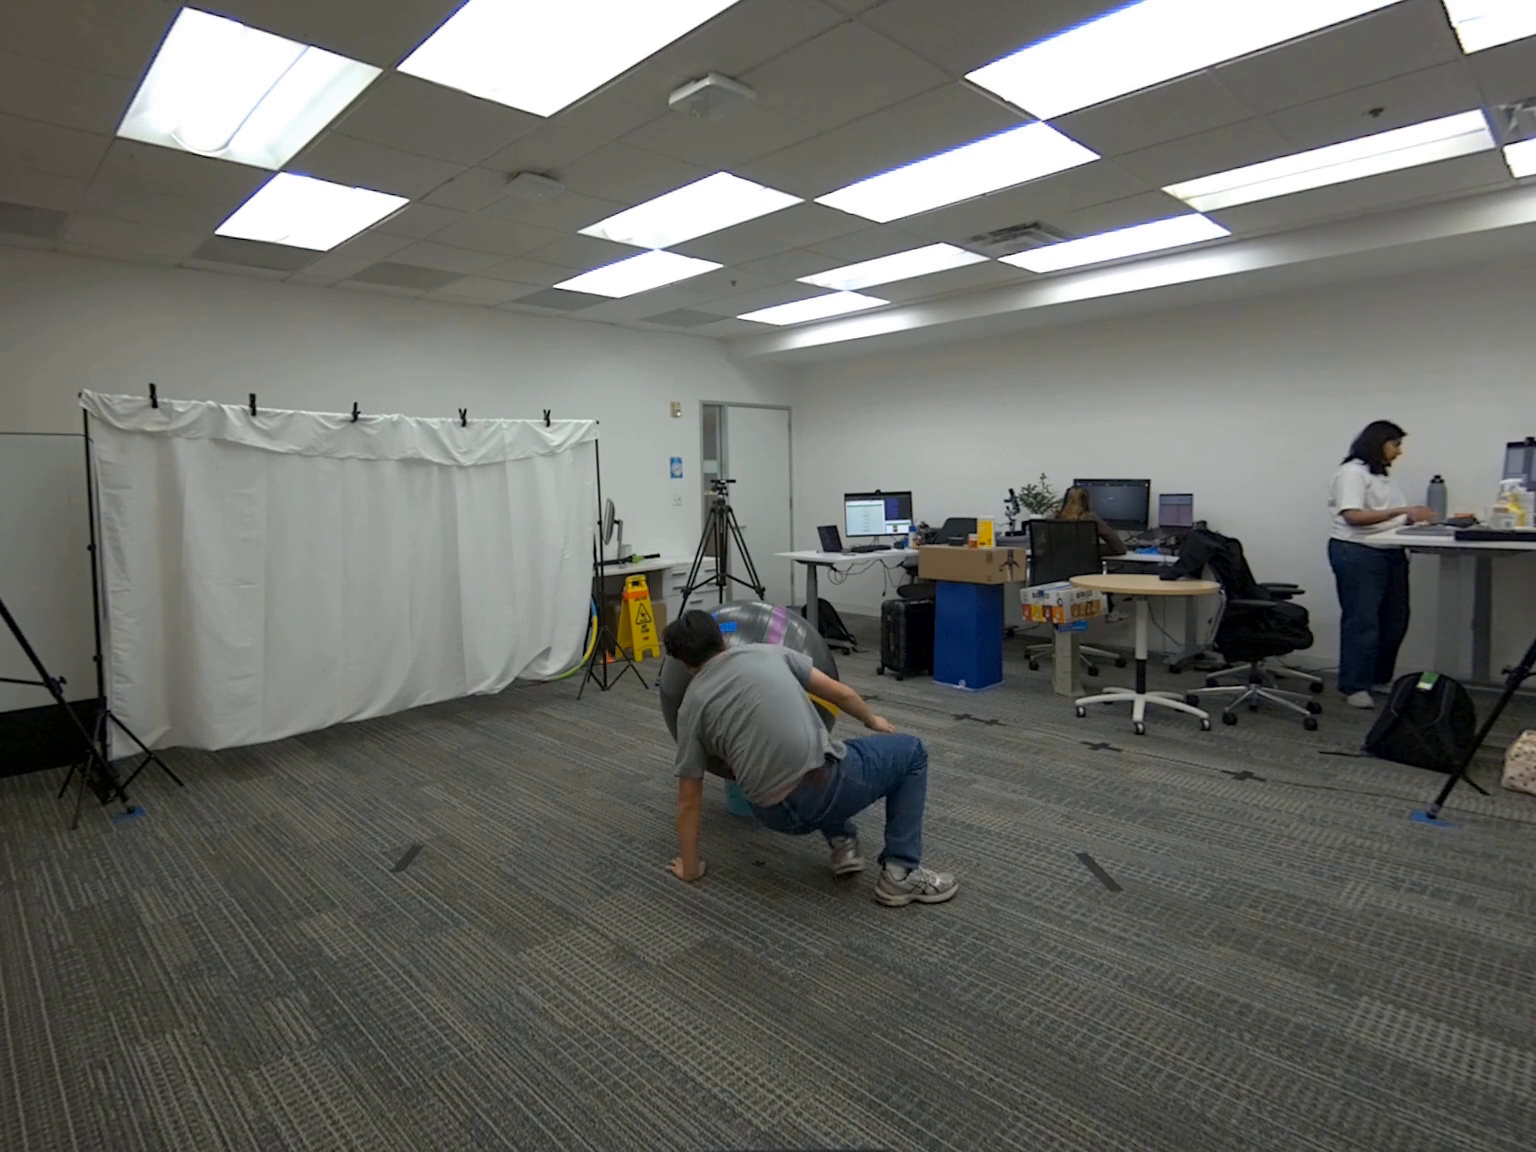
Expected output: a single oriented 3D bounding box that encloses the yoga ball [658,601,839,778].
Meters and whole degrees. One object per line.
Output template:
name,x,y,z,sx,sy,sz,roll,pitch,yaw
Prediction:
yoga ball,-0.081,0.481,3.622,0.757,0.755,0.762,-1,5,-2
